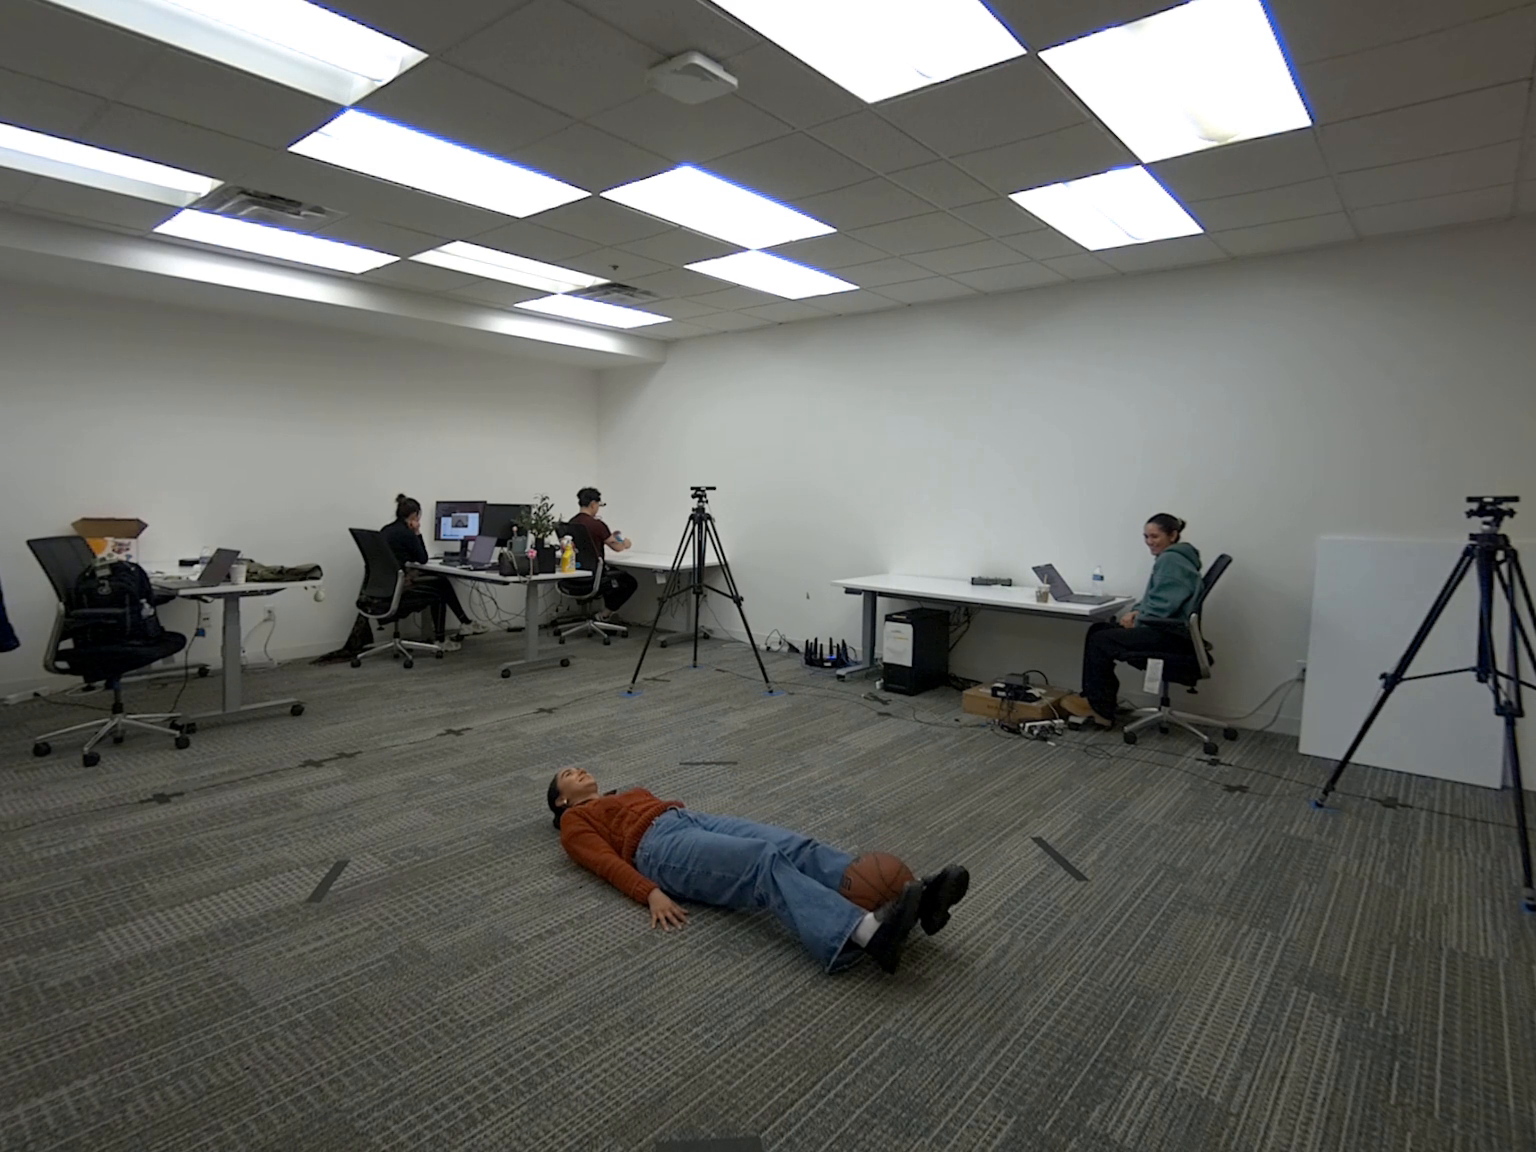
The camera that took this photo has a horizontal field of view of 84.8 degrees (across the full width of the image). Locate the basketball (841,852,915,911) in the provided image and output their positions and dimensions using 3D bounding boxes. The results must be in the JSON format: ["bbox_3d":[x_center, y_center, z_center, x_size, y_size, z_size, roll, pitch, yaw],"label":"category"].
[{"bbox_3d":[0.325,0.952,2.569,0.236,0.235,0.237,1,4,-2],"label":"basketball"}]
